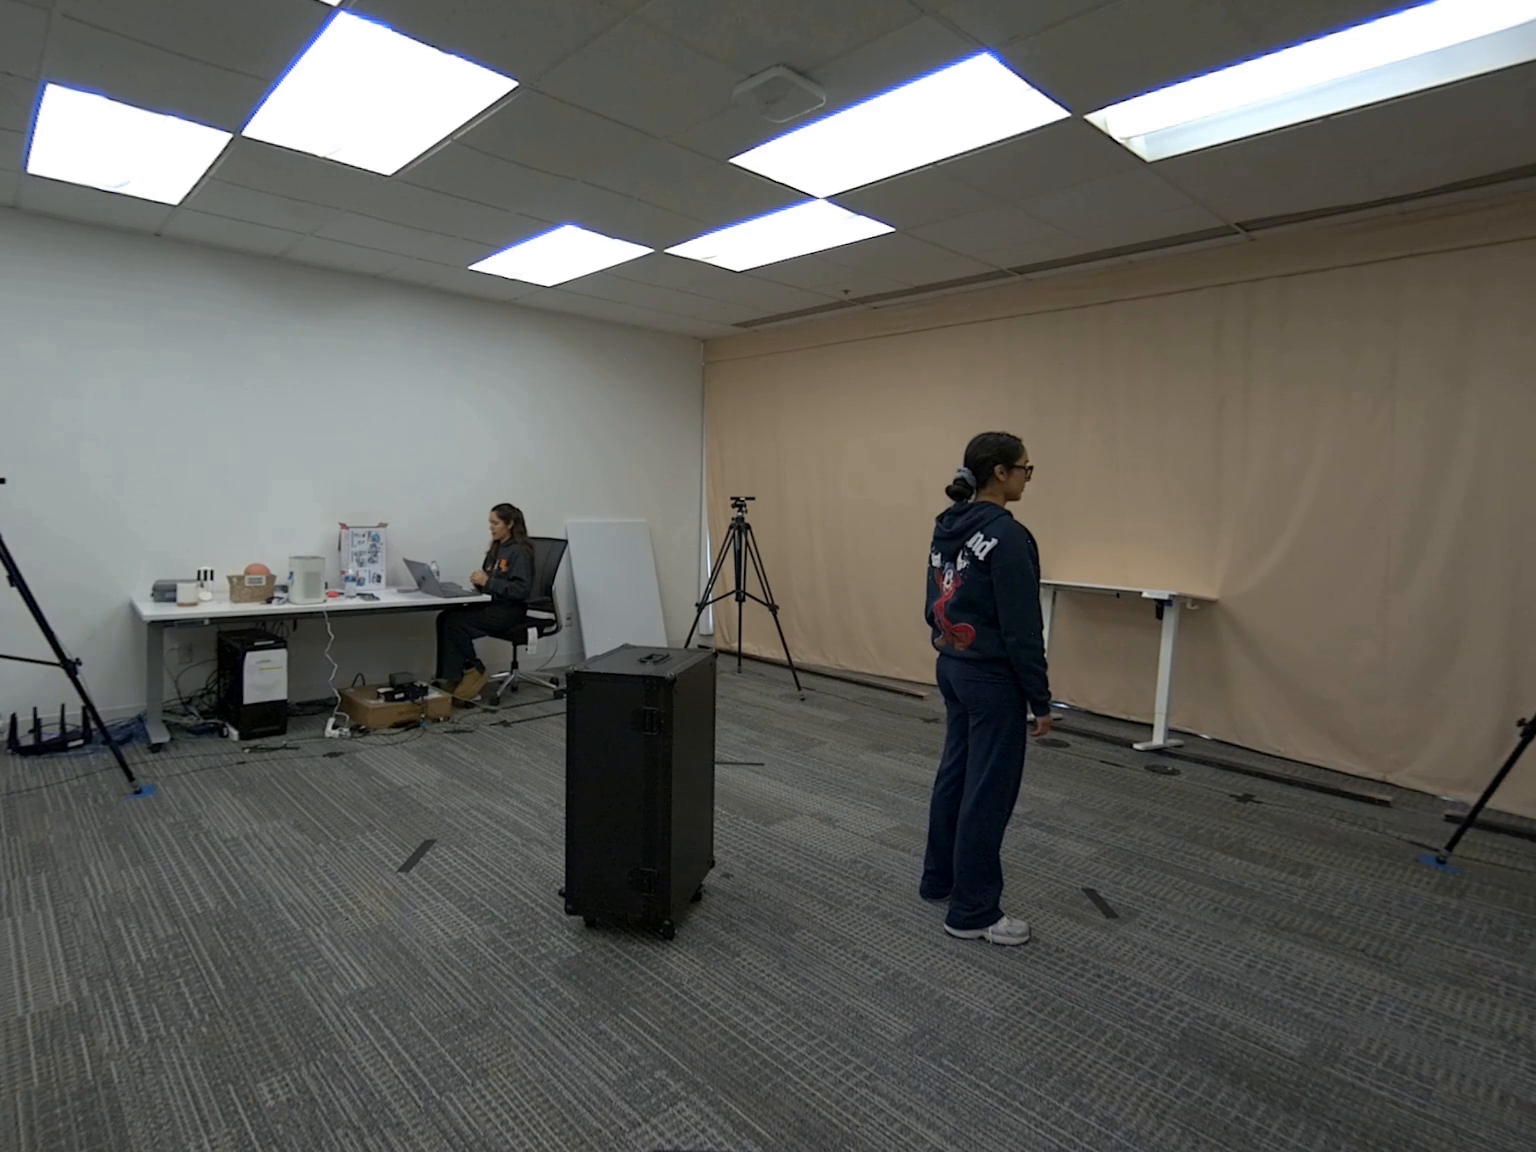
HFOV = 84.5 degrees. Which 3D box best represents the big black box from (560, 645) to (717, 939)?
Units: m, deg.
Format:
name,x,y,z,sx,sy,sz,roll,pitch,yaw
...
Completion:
name,x,y,z,sx,sy,sz,roll,pitch,yaw
big black box,-0.424,0.696,2.819,0.401,0.860,0.516,1,3,14
